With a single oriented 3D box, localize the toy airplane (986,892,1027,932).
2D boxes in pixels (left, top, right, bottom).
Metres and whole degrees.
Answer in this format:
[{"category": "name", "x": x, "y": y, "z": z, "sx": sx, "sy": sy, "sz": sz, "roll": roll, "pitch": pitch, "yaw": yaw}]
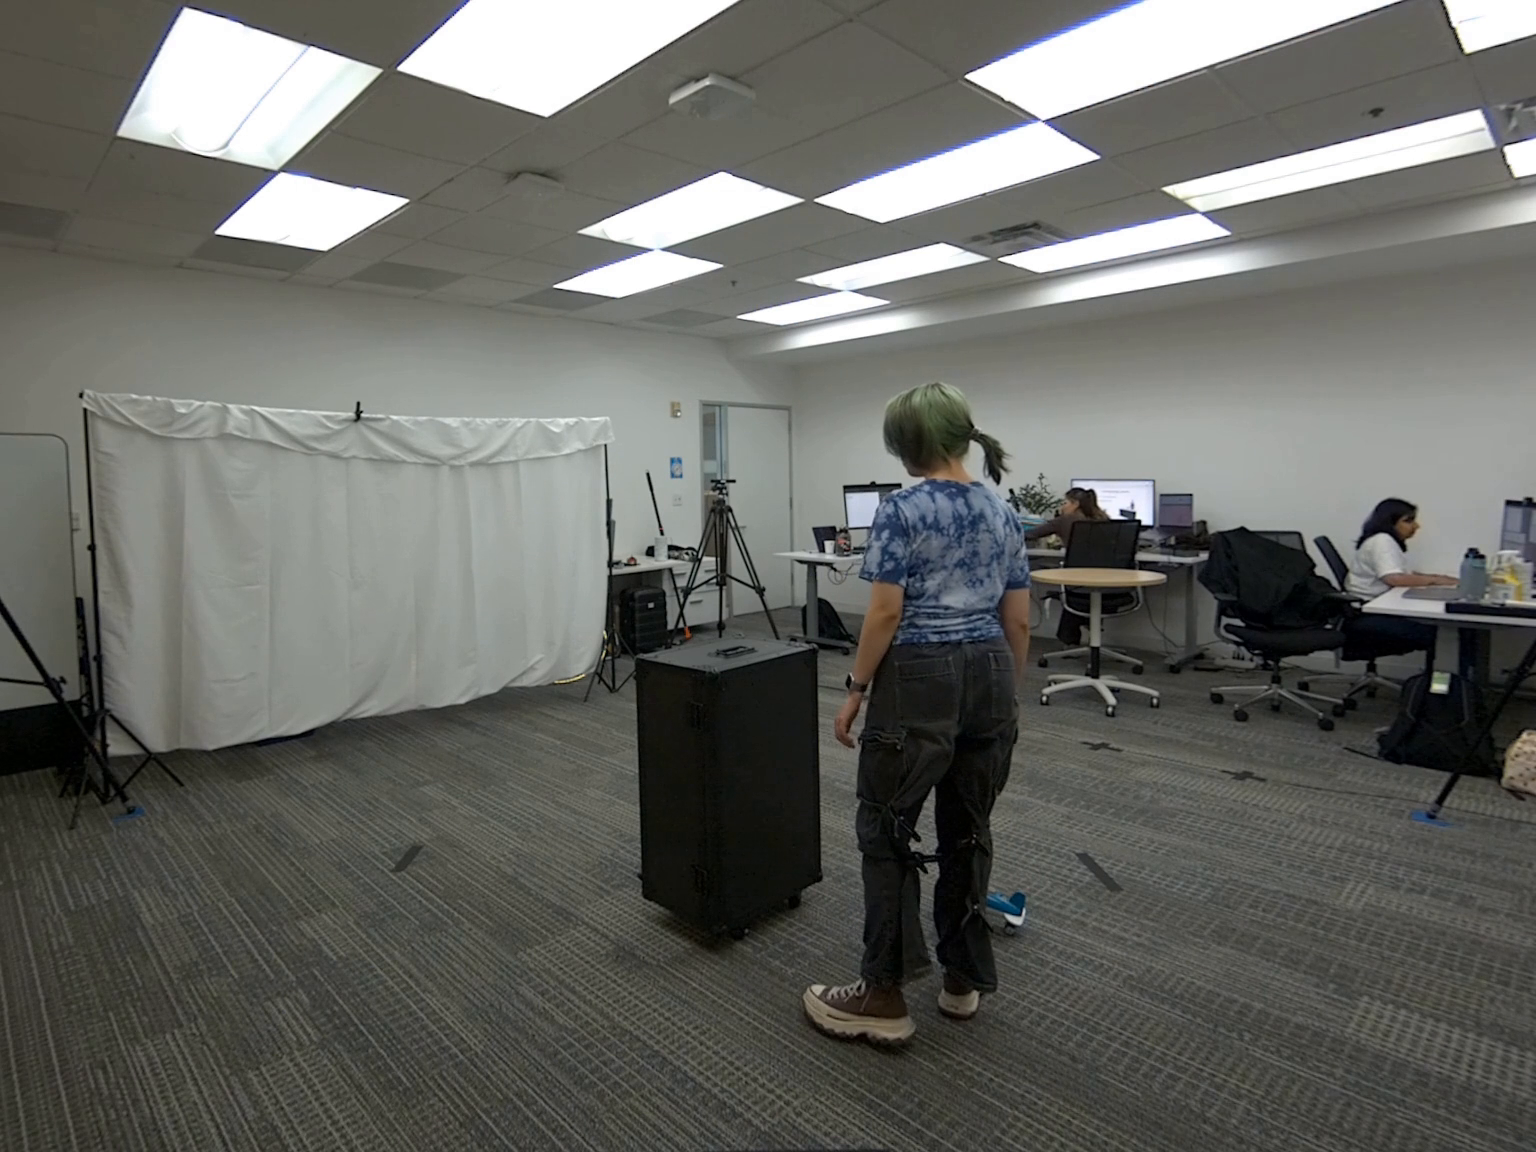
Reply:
[{"category": "toy airplane", "x": 0.665, "y": 0.999, "z": 2.664, "sx": 0.258, "sy": 0.156, "sz": 0.253, "roll": -2, "pitch": 5, "yaw": -4}]
